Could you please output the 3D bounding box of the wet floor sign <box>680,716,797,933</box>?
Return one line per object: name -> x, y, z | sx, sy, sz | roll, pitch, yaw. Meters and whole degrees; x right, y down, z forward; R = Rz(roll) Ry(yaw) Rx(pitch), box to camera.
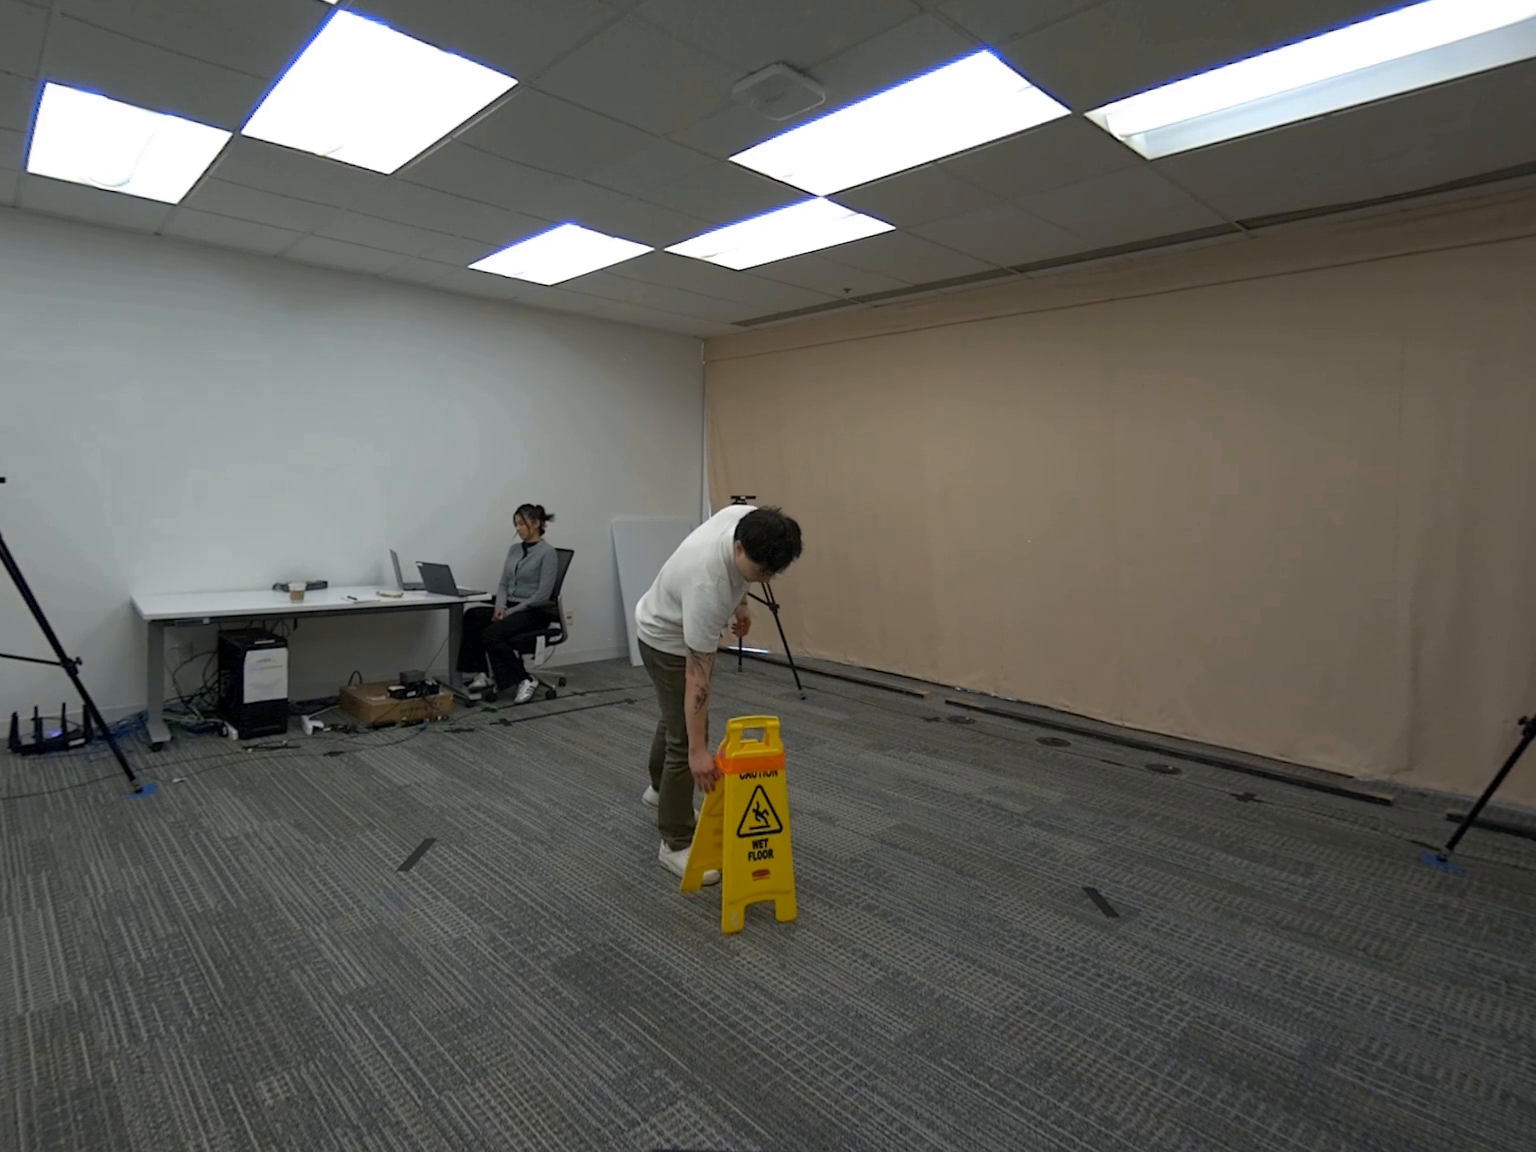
wet floor sign -> -0.083, 0.792, 2.828 | 0.276, 0.645, 0.297 | 4, 3, -33
